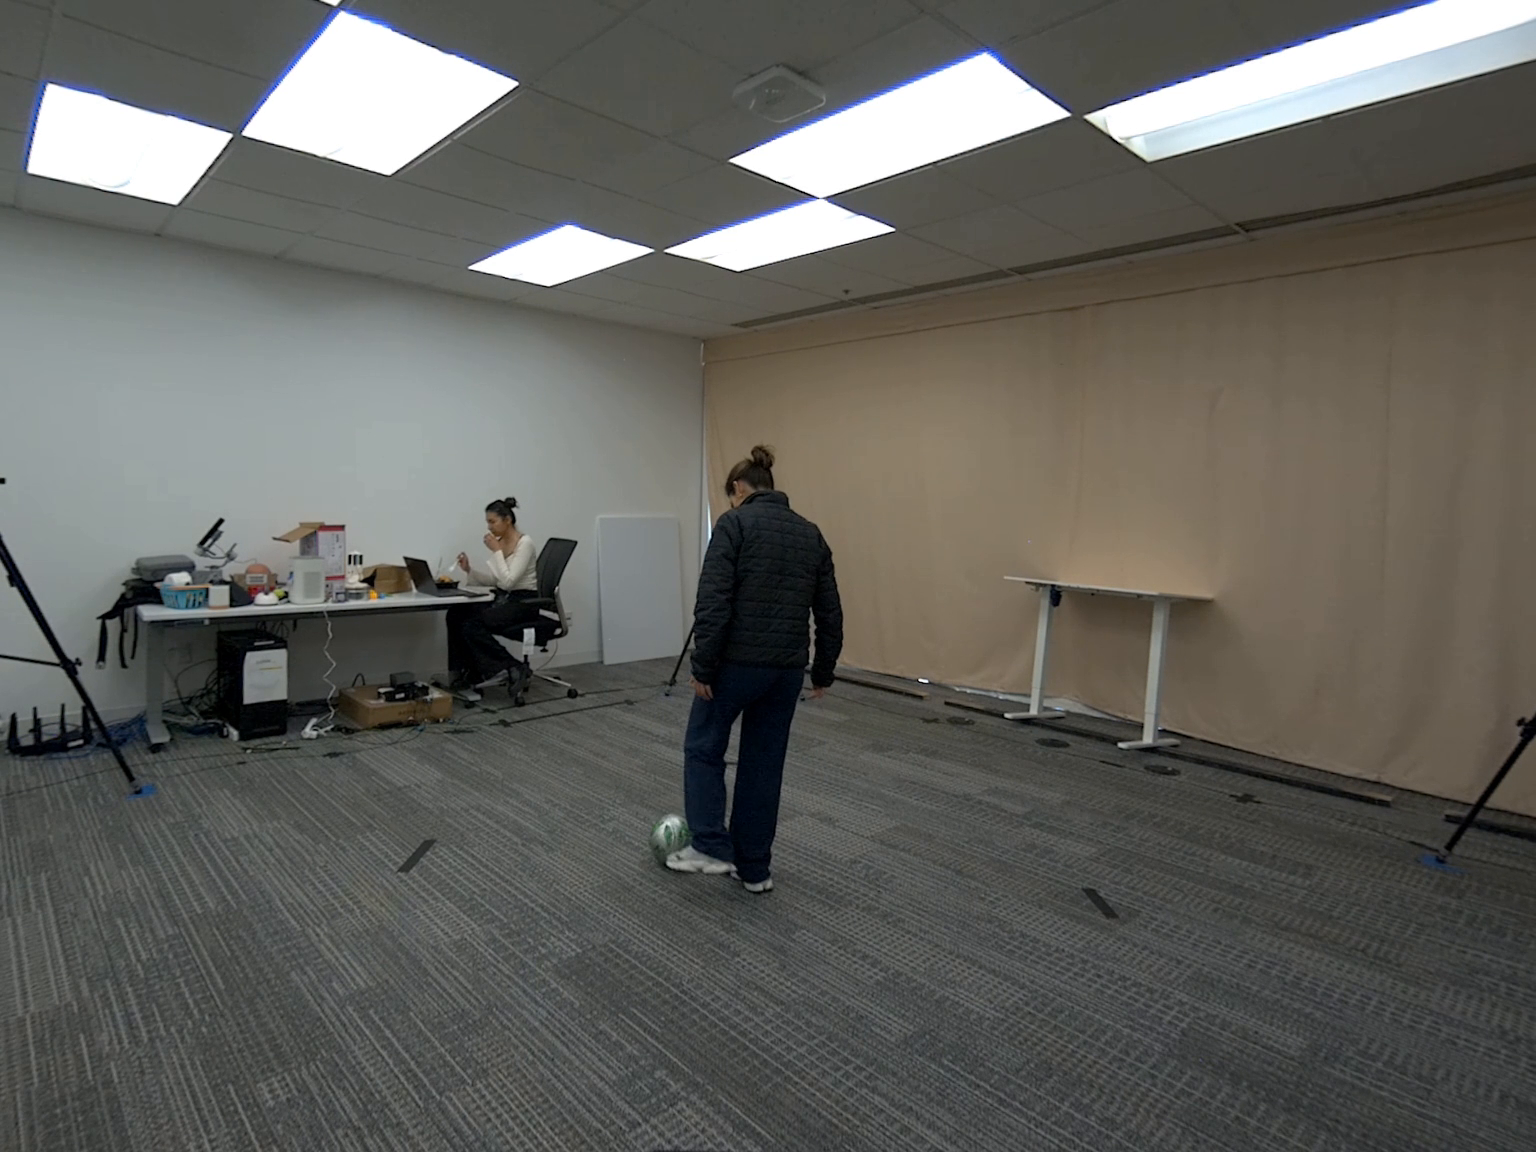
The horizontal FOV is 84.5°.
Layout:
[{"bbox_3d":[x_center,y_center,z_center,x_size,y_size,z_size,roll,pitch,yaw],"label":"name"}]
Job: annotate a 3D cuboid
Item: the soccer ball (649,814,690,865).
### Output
[{"bbox_3d":[-0.368,0.996,3.188,0.187,0.187,0.188,1,4,-1],"label":"soccer ball"}]
